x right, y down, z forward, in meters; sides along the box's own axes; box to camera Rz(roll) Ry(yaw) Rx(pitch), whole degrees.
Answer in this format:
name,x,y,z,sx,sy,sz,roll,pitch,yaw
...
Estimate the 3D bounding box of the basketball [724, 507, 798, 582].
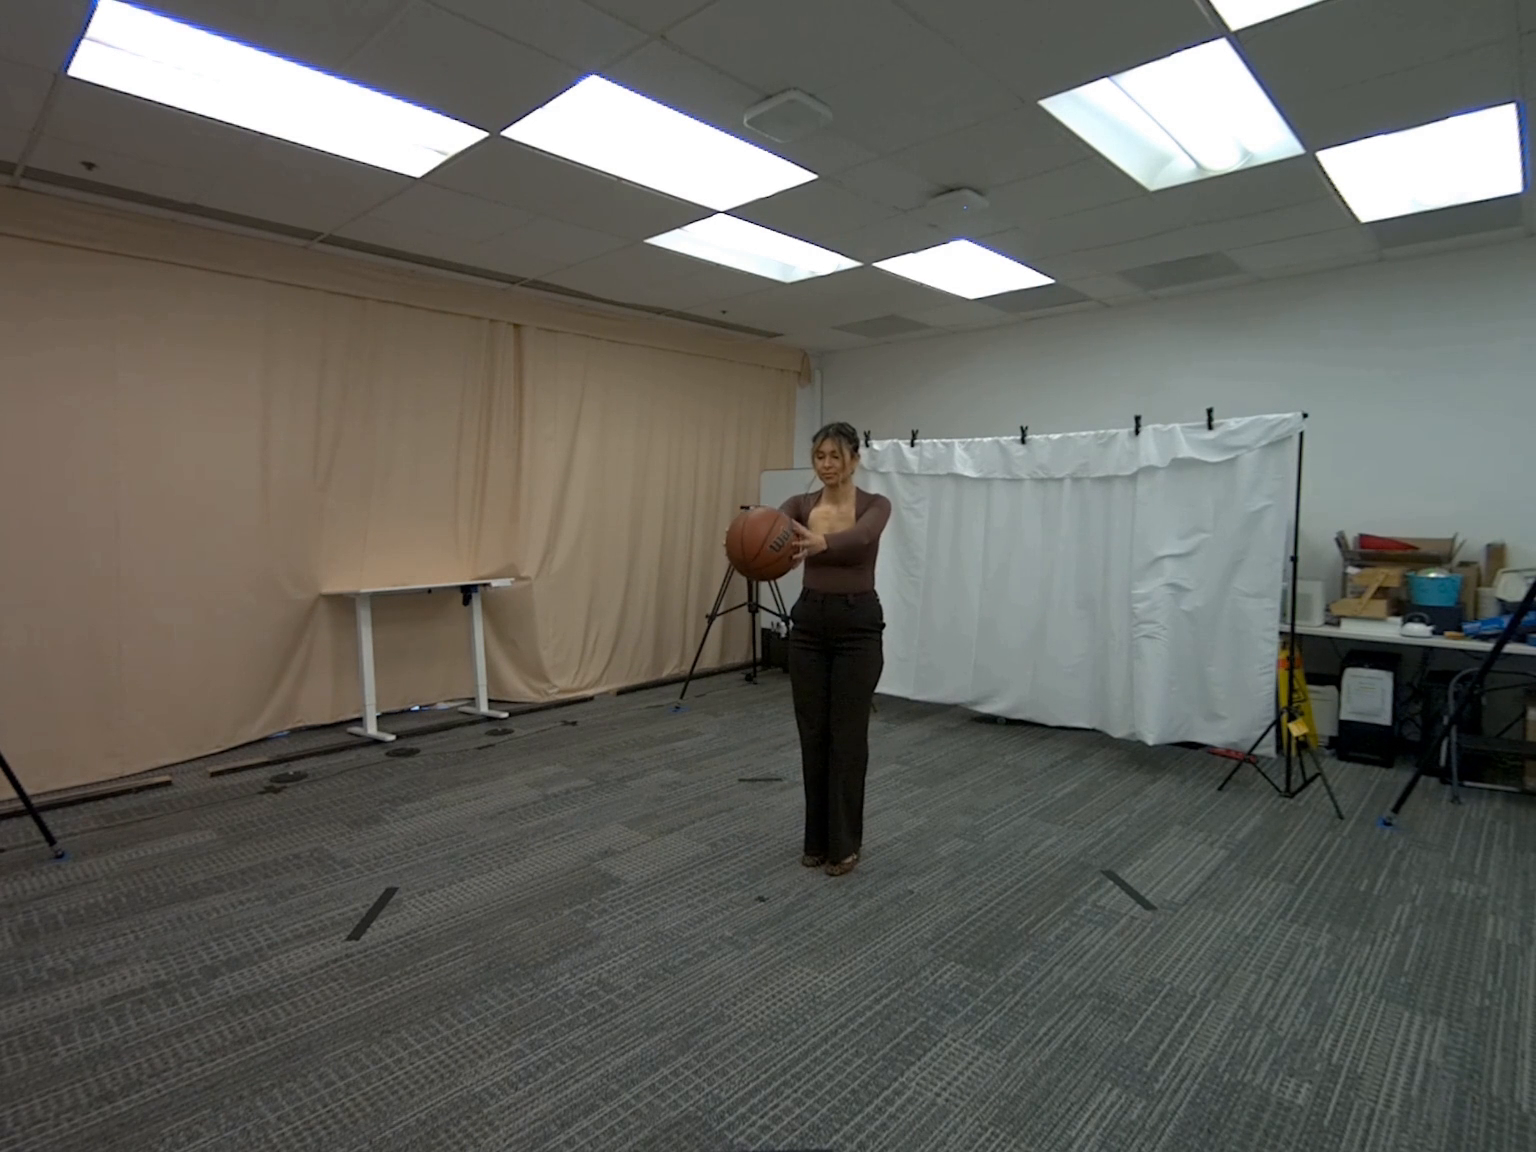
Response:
name,x,y,z,sx,sy,sz,roll,pitch,yaw
basketball,-0.013,-0.095,2.668,0.236,0.235,0.237,0,4,-2
